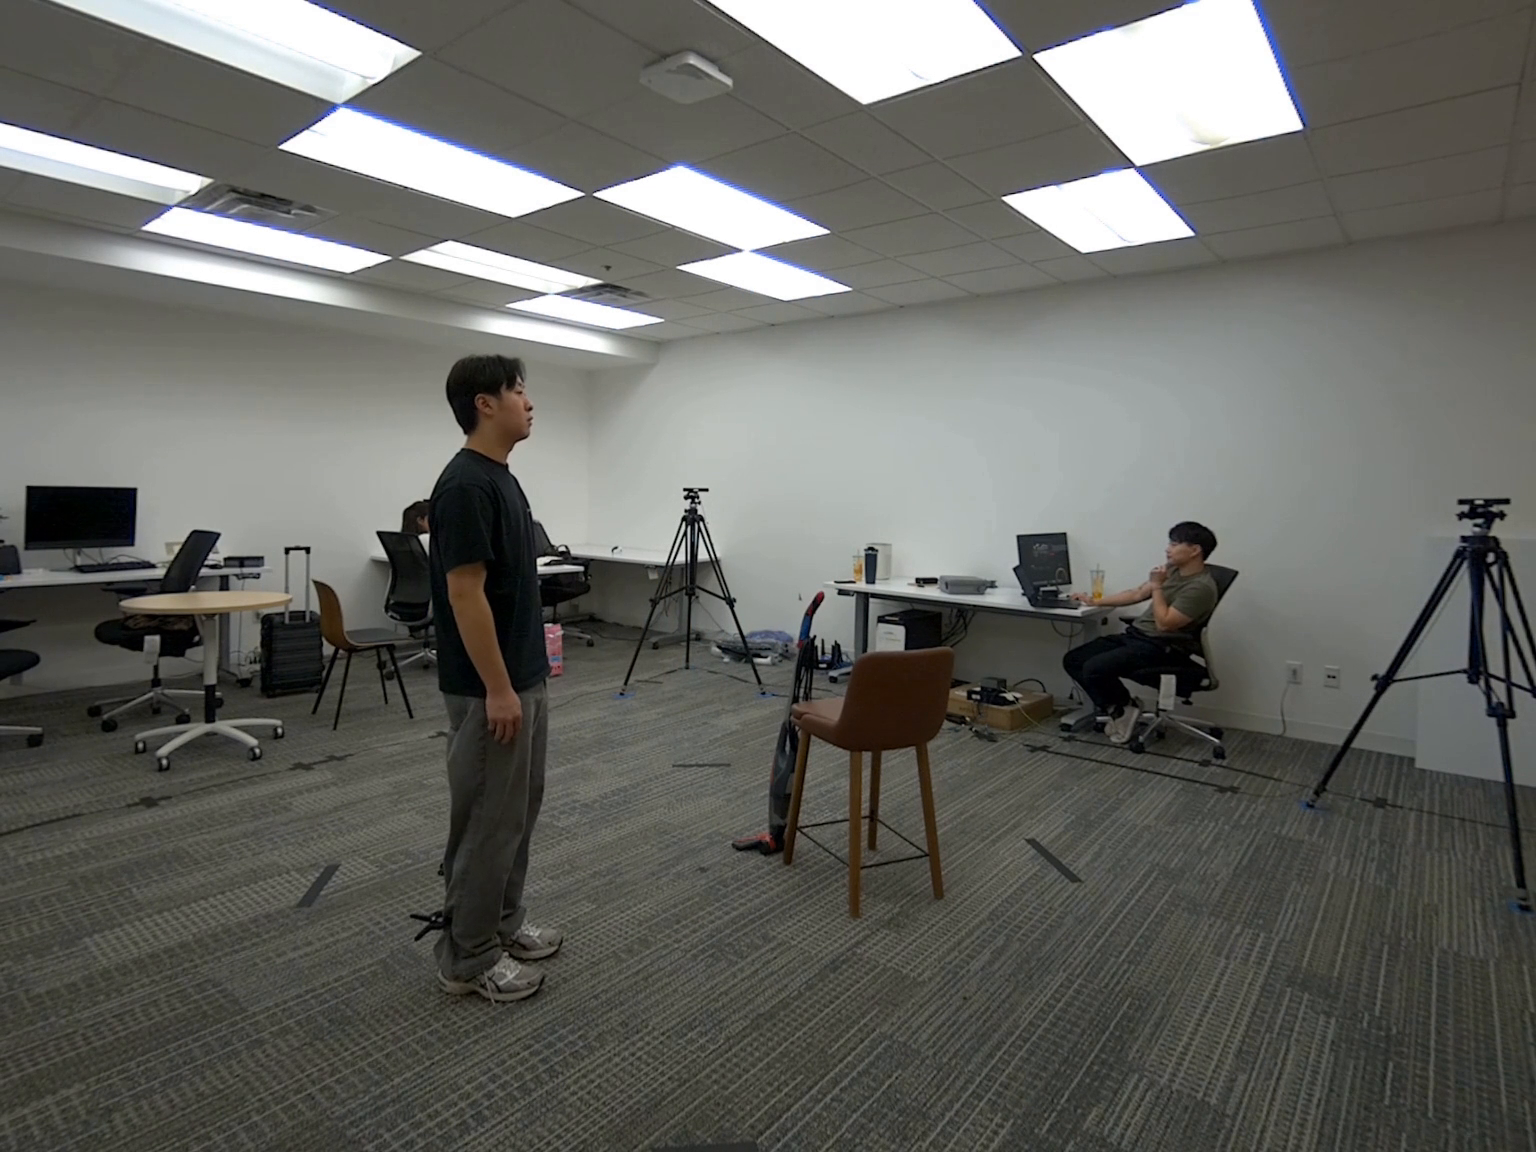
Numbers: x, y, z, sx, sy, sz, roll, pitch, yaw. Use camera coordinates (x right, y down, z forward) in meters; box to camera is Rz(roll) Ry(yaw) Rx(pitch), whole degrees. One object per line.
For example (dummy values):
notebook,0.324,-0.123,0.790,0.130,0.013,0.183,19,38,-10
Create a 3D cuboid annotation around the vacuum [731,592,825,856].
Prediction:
vacuum,0.089,0.557,3.188,0.245,1.039,0.150,0,17,-41
